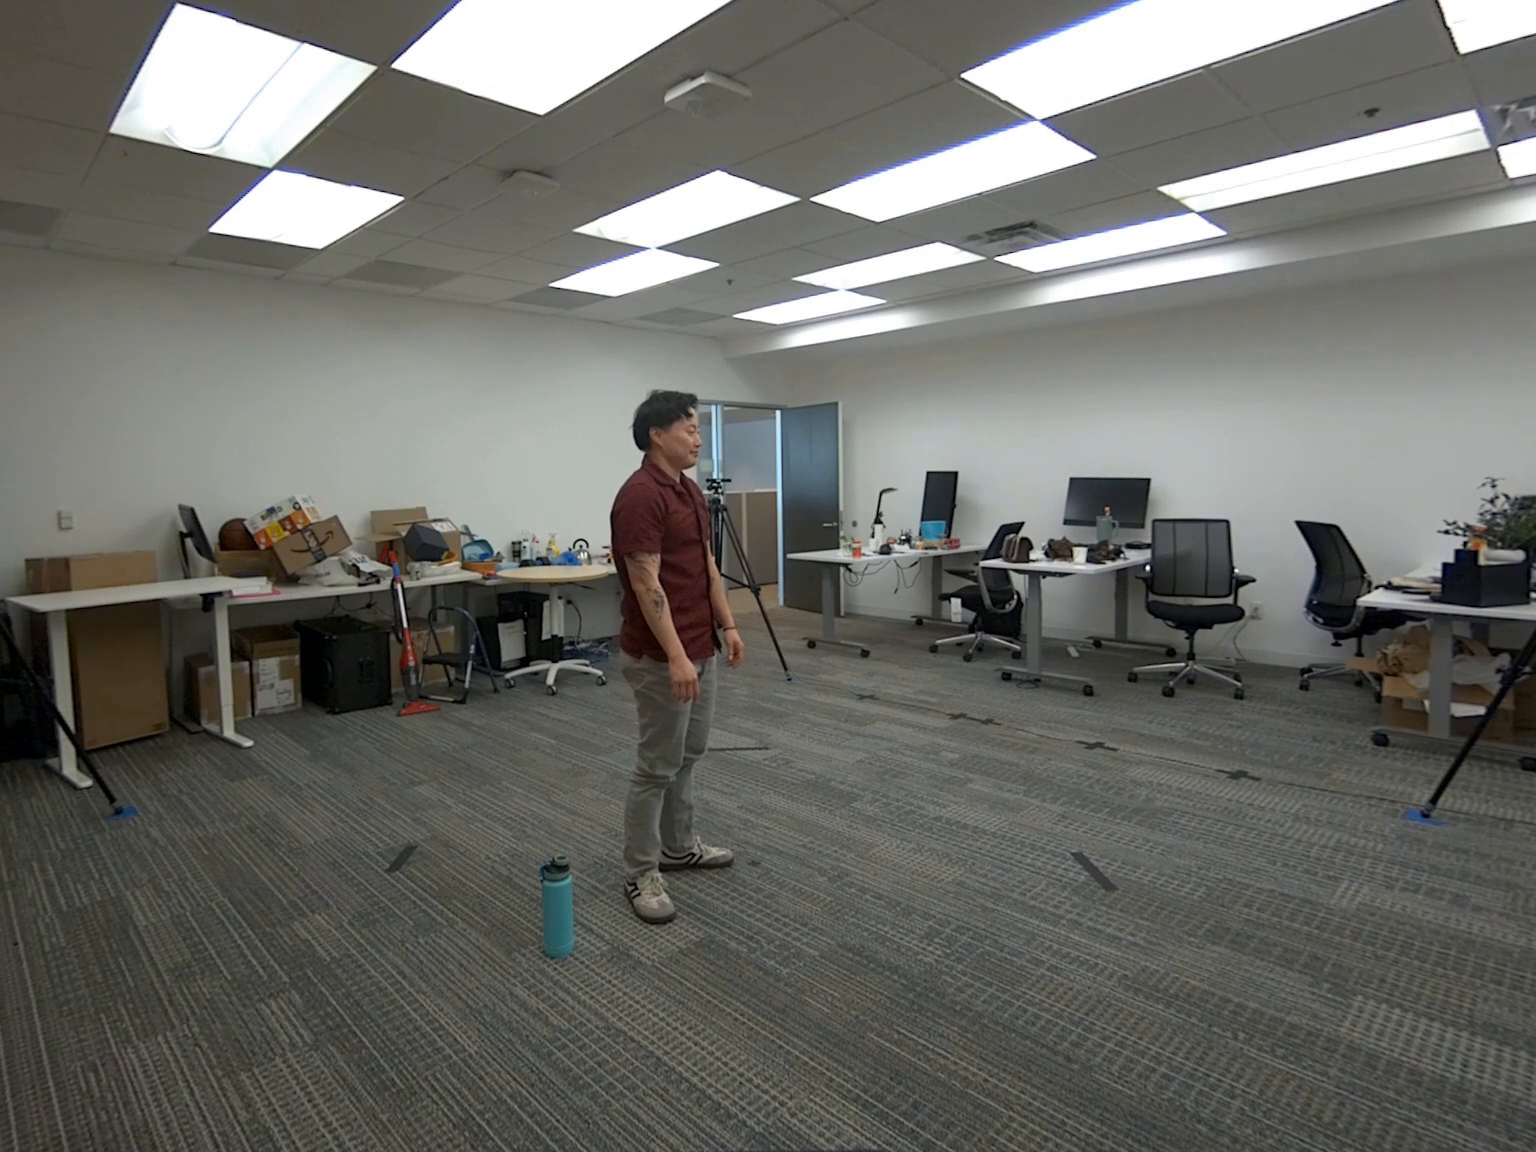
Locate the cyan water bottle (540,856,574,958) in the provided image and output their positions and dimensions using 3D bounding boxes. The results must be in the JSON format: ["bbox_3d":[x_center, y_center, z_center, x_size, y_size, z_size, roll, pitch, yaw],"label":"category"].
[{"bbox_3d":[-0.626,0.982,2.547,0.092,0.282,0.093,-2,5,-1],"label":"cyan water bottle"}]
